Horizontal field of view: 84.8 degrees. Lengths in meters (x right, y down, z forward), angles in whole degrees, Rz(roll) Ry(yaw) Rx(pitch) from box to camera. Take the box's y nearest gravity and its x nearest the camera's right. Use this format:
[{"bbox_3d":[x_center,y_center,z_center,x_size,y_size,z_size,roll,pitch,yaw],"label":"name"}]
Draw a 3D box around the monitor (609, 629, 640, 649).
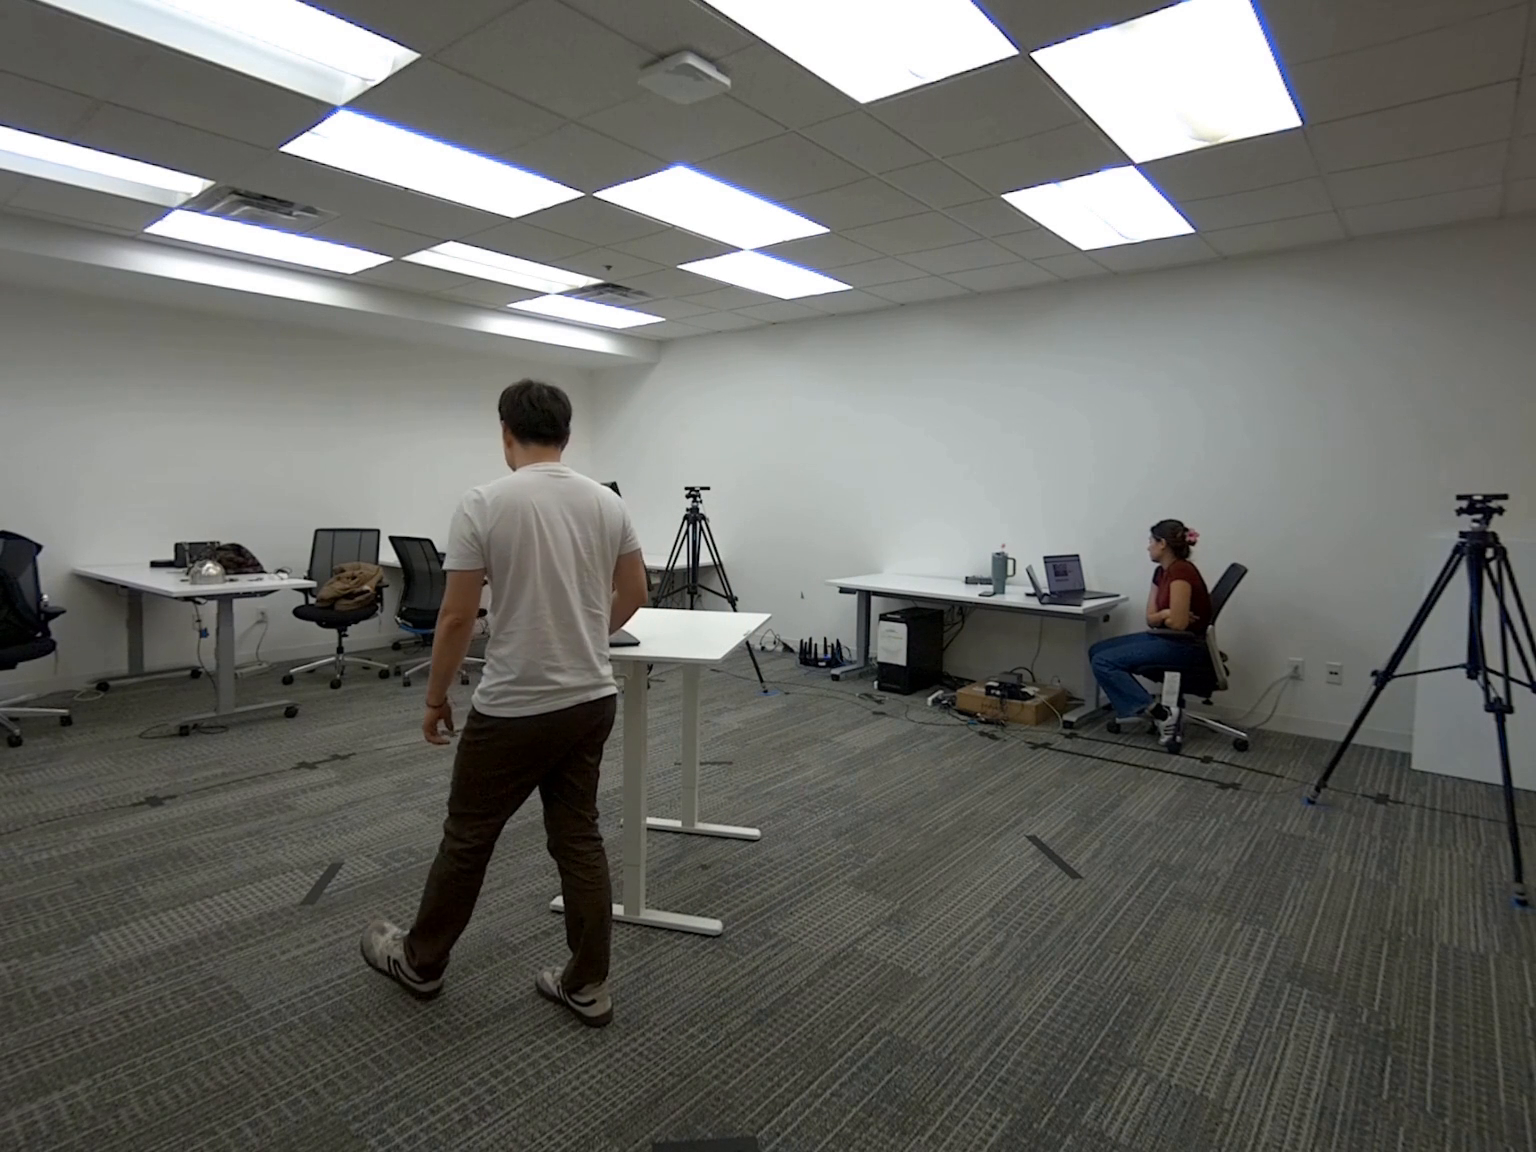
[{"bbox_3d":[-0.553,-0.045,2.789,0.183,0.521,0.554,-4,5,-26],"label":"monitor"}]
